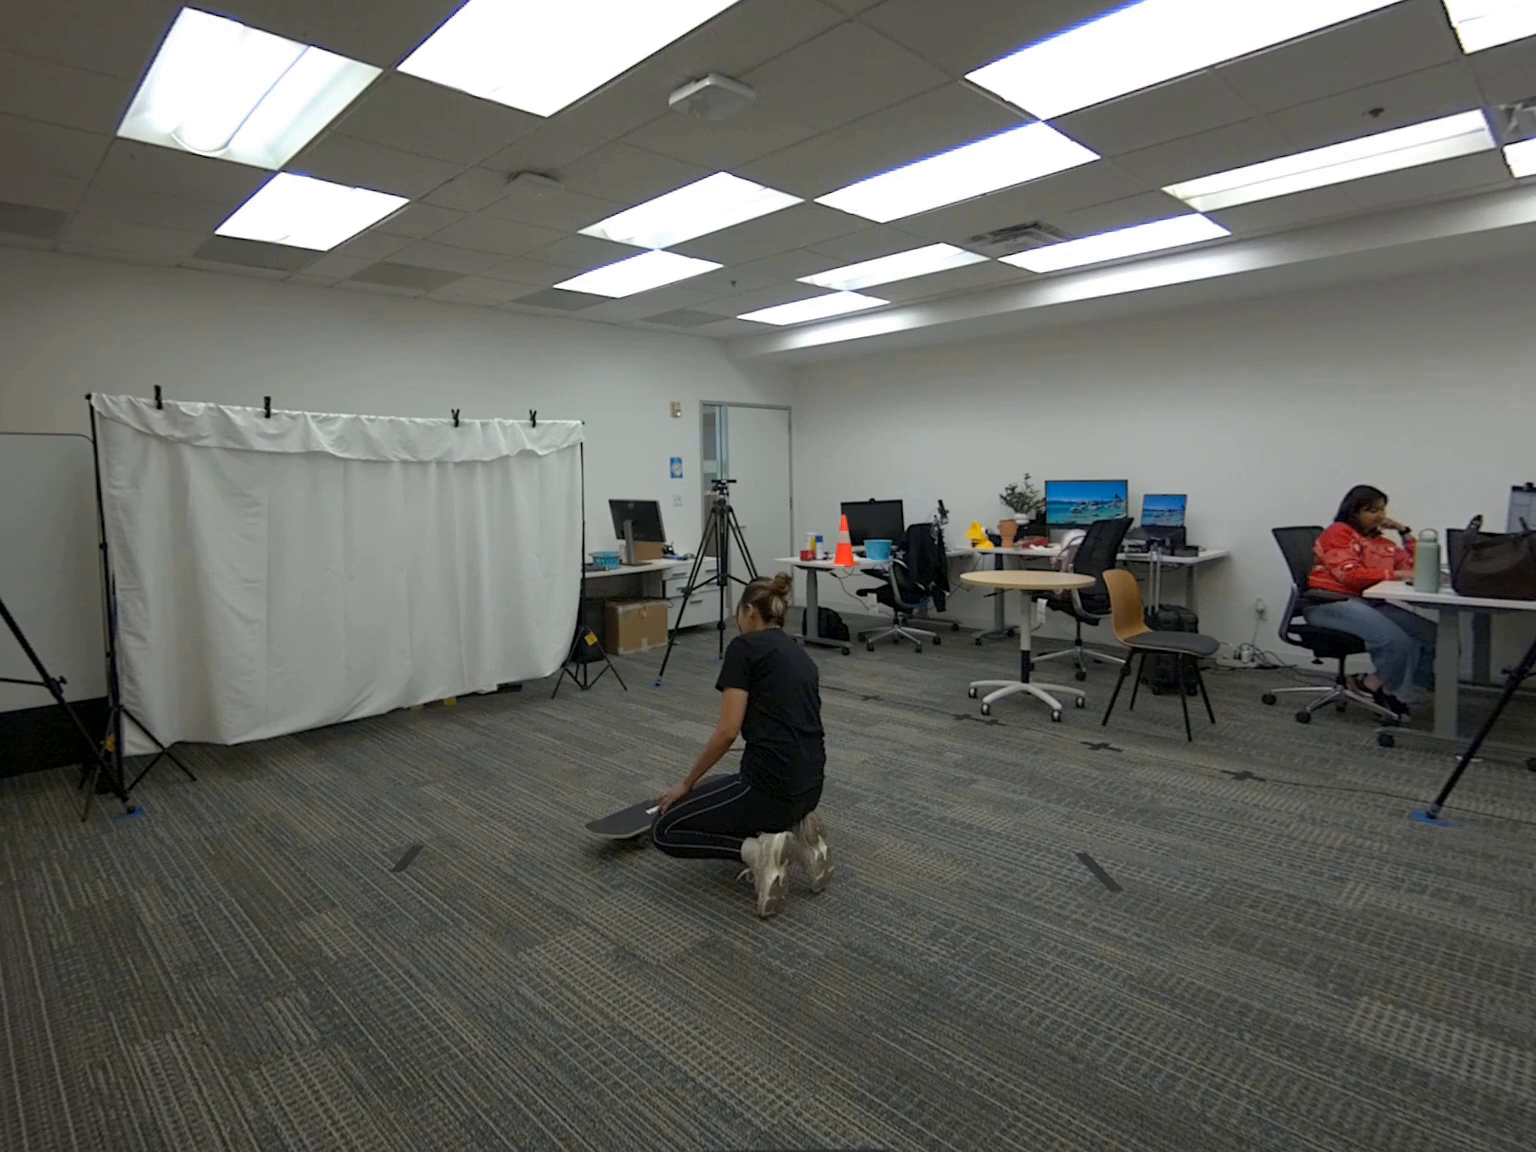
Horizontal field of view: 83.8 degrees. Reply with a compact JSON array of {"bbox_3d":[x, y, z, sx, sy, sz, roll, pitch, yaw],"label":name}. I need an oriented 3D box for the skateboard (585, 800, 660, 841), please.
[{"bbox_3d":[-0.406,0.952,3.455,0.199,0.110,0.765,4,8,40],"label":"skateboard"}]
